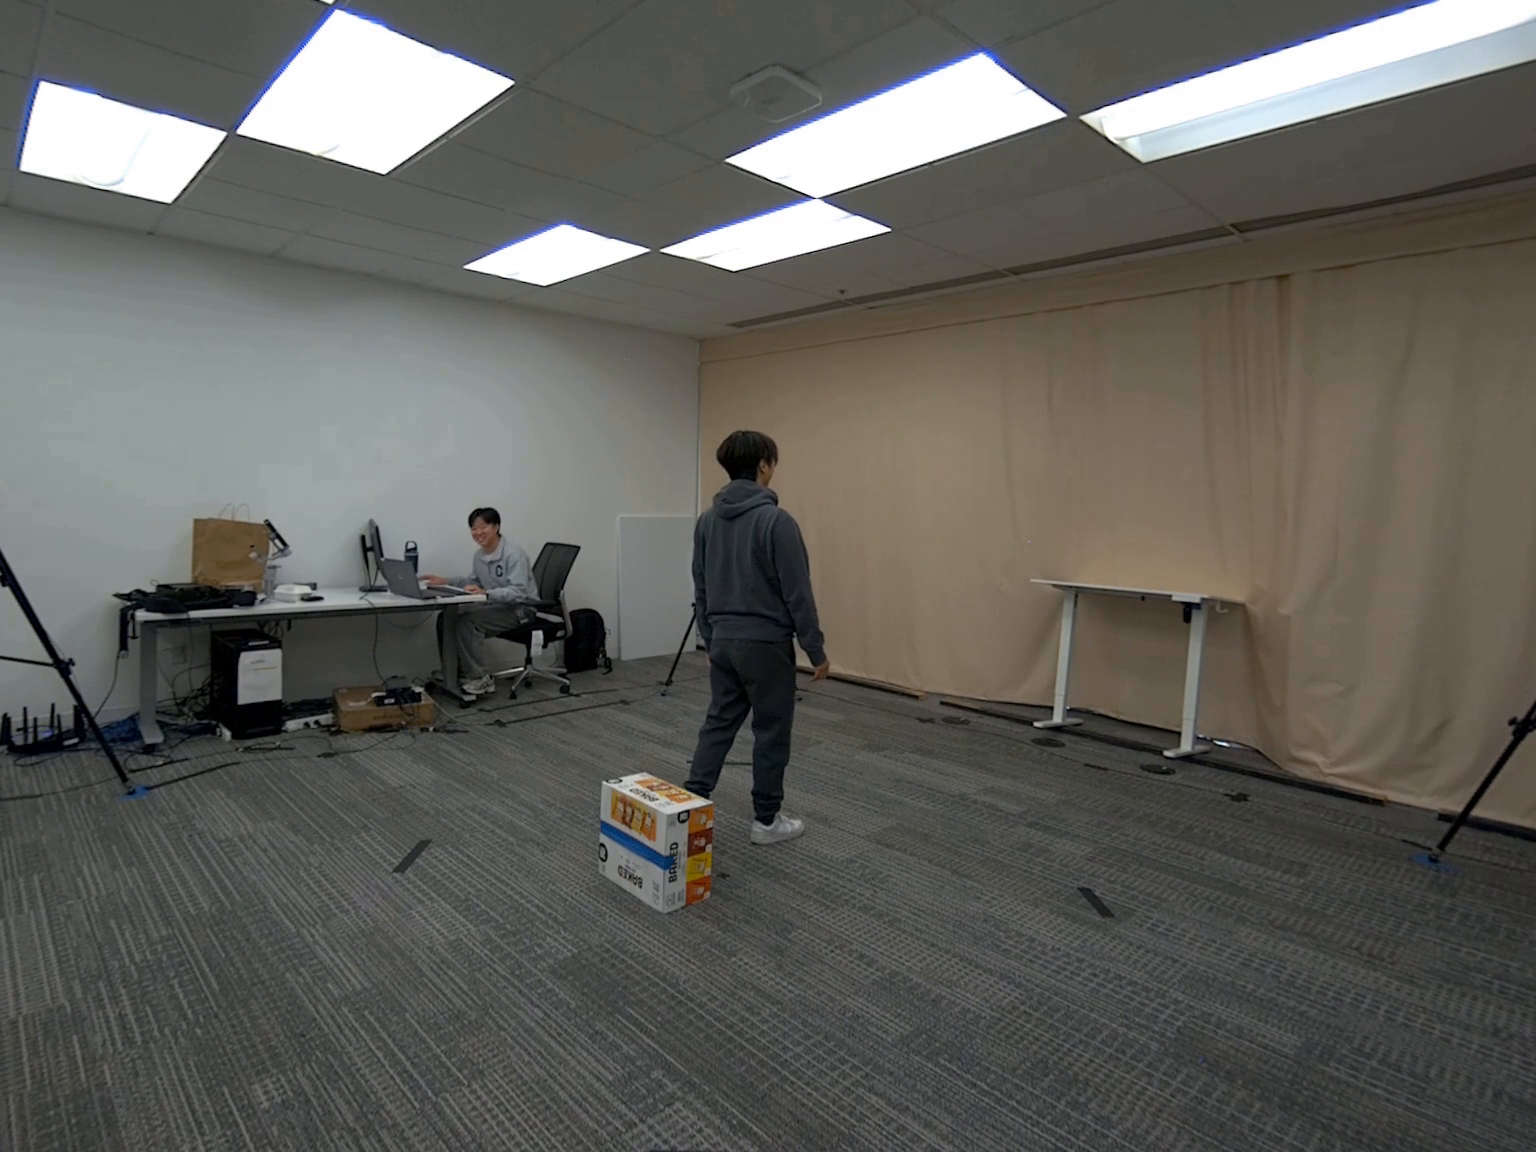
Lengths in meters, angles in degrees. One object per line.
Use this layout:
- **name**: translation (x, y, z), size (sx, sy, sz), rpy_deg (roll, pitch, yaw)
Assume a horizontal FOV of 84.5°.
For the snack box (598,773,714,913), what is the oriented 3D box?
- **snack box**: translation (-0.415, 0.942, 3.008), size (0.201, 0.340, 0.415), rpy_deg (0, 4, -42)
